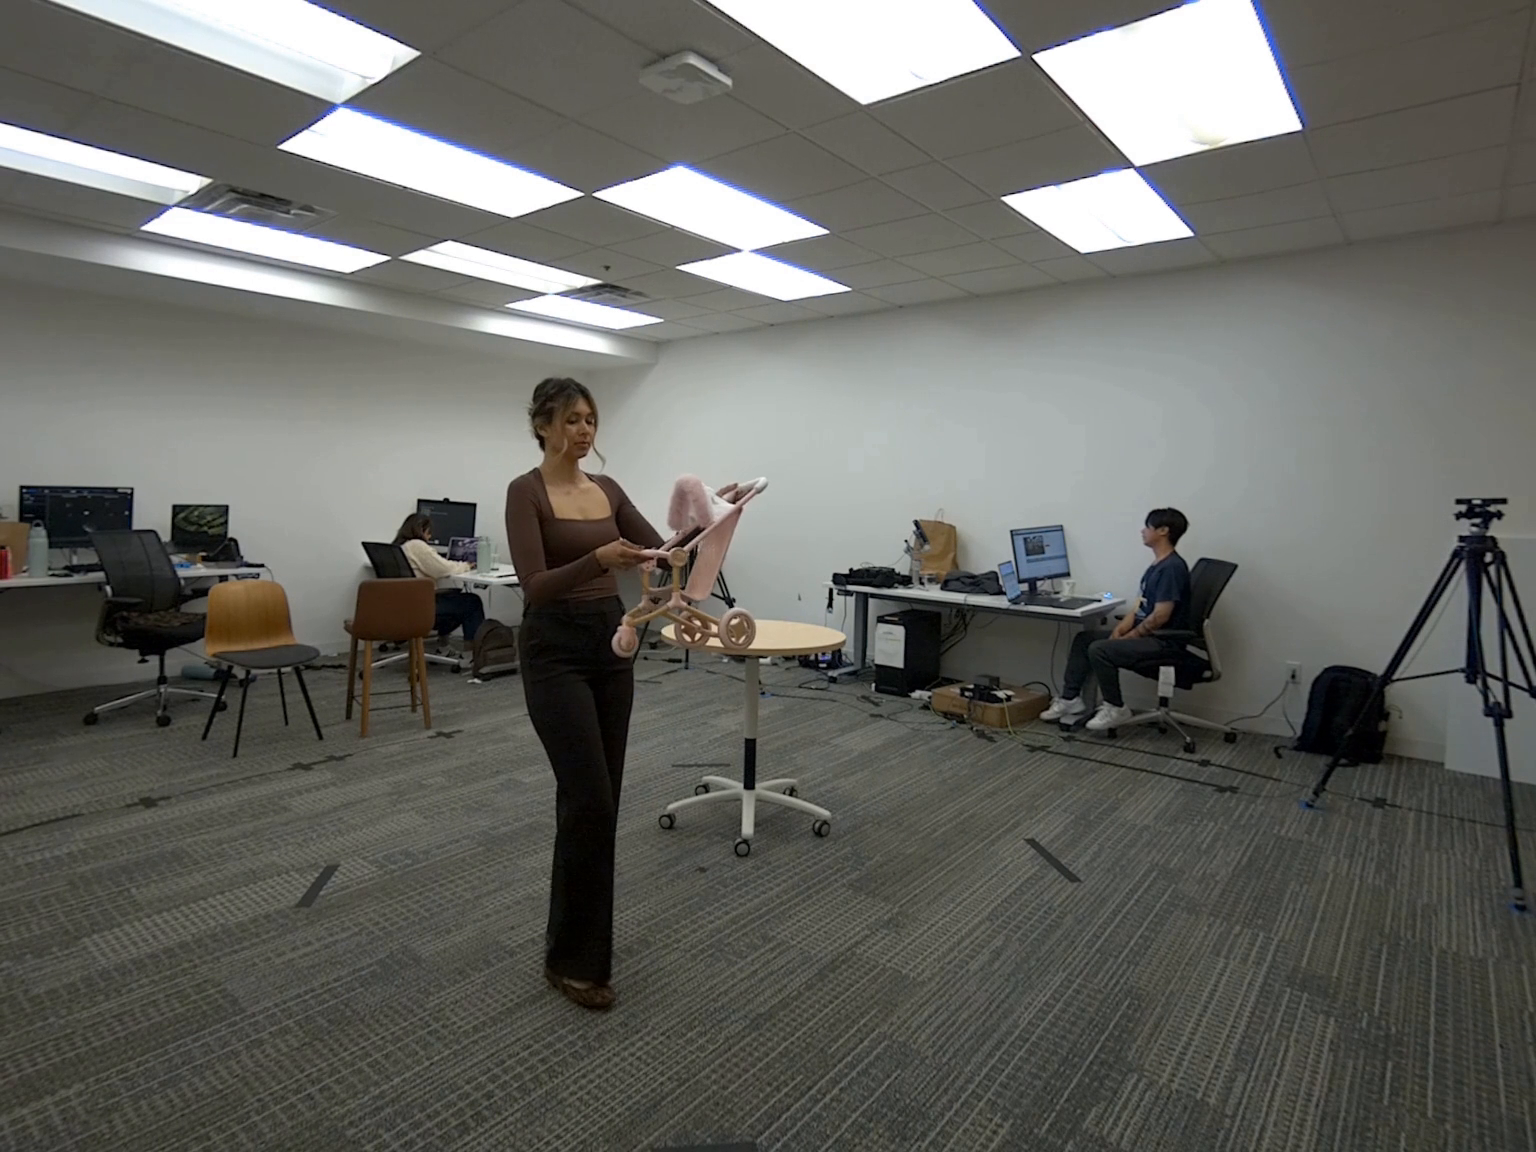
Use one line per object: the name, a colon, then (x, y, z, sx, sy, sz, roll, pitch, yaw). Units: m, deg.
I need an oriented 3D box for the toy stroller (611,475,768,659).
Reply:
toy stroller: (-0.219, -0.031, 2.238, 0.332, 0.539, 0.287, 14, -10, -24)
